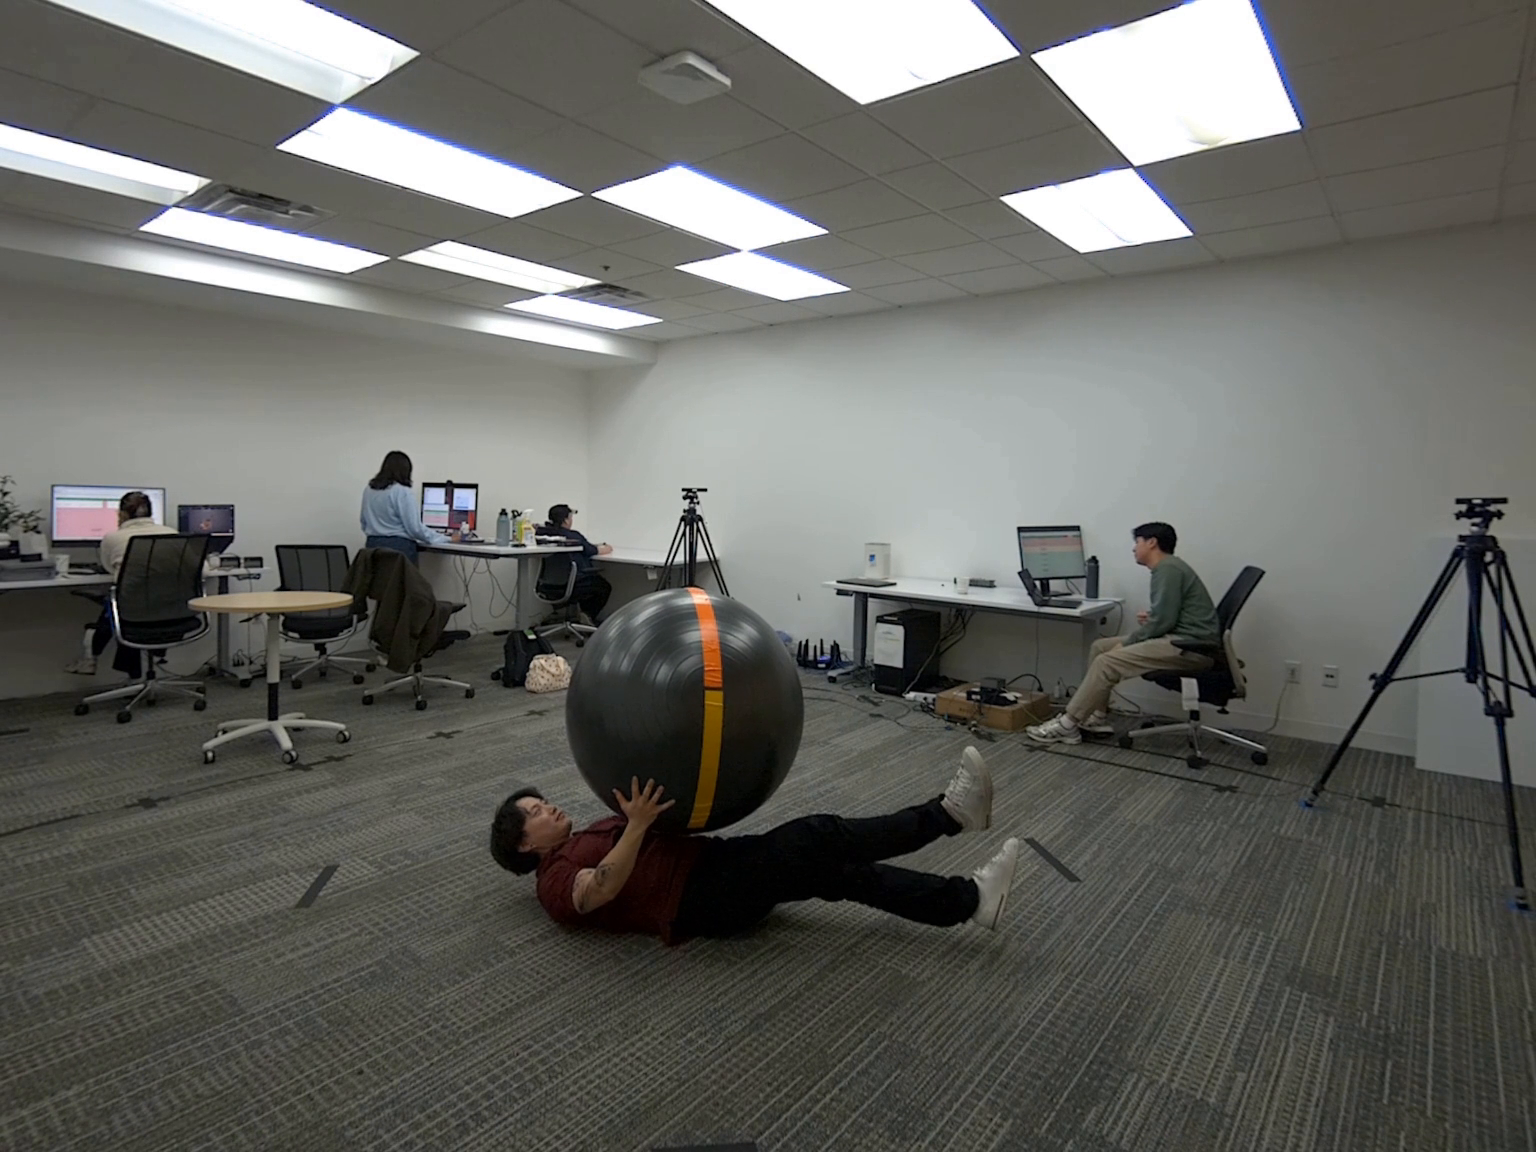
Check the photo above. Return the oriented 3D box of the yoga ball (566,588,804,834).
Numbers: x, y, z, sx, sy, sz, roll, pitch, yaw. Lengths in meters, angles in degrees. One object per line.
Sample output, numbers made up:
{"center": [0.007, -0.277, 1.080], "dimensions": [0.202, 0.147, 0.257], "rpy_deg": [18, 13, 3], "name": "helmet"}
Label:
{"center": [-0.269, 0.420, 2.710], "dimensions": [0.757, 0.755, 0.762], "rpy_deg": [1, 4, -2], "name": "yoga ball"}
